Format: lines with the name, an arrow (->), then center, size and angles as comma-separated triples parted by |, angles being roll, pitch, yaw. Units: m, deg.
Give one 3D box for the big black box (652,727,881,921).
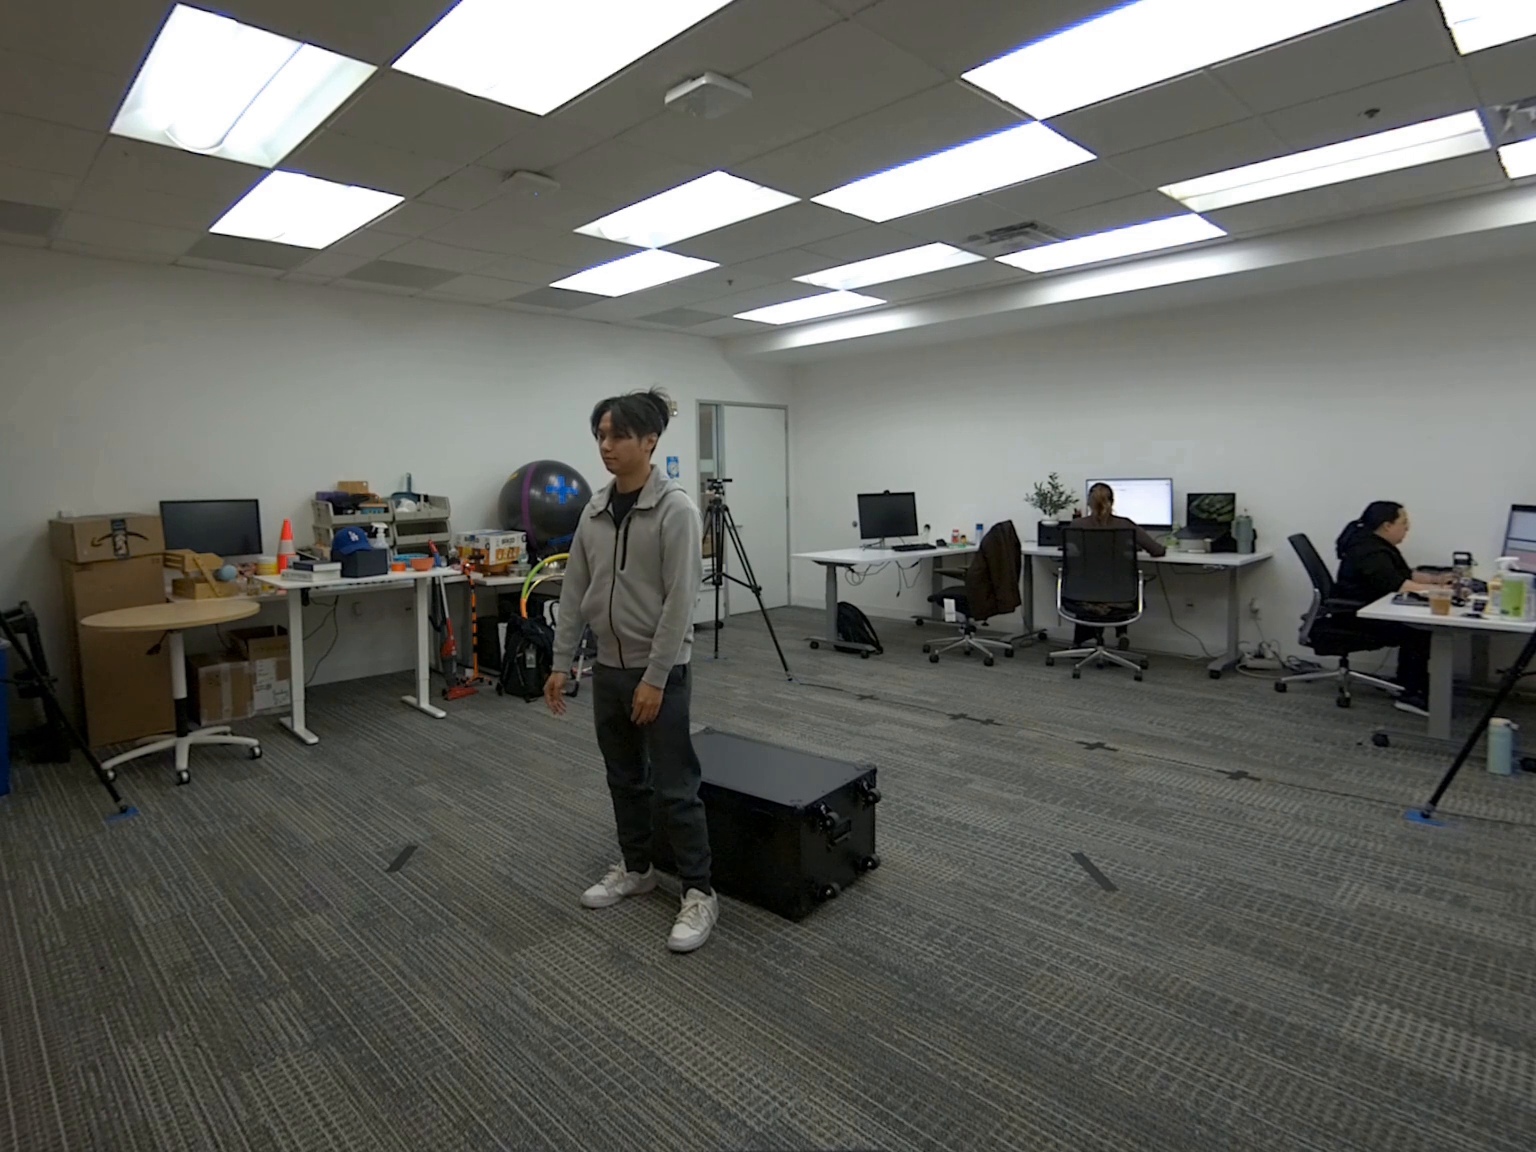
big black box -> -0.089, 0.857, 3.116 | 0.887, 0.394, 0.508 | 4, 7, 38
